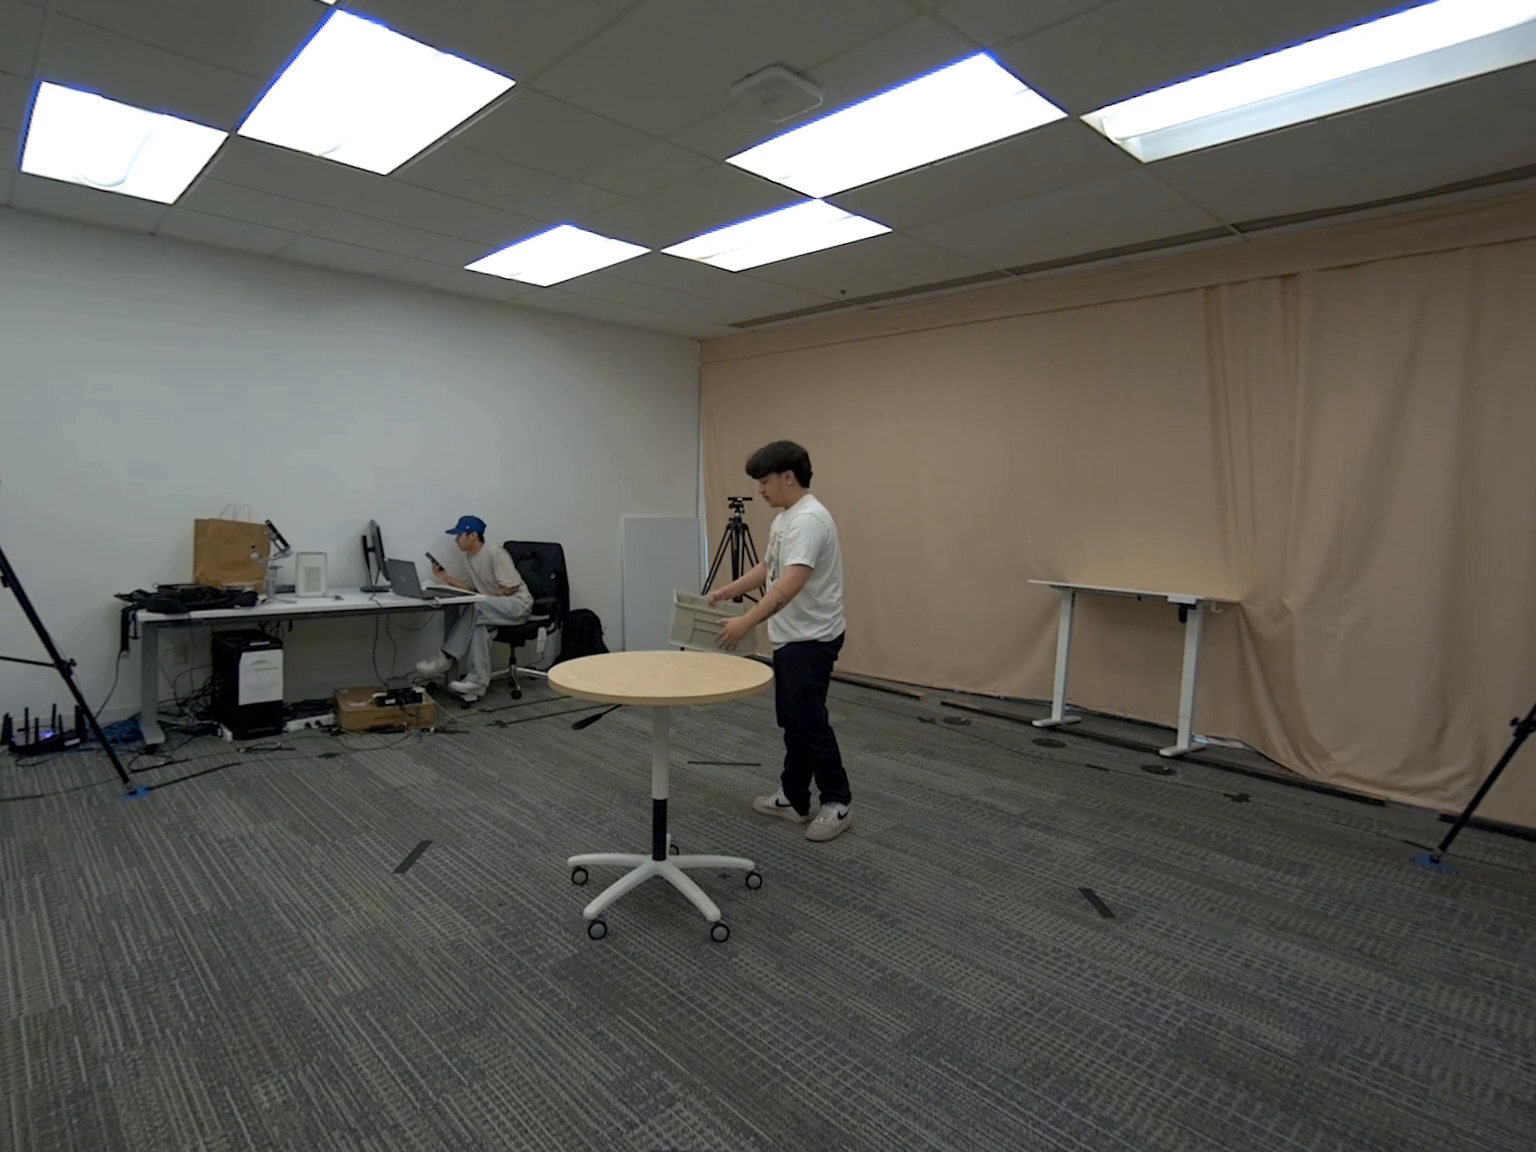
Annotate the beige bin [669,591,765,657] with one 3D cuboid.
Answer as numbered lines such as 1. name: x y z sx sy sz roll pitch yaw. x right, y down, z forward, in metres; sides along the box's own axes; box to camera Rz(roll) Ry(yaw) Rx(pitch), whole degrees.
1. beige bin: -0.250 0.211 3.711 0.375 0.188 0.426 10 4 -8
